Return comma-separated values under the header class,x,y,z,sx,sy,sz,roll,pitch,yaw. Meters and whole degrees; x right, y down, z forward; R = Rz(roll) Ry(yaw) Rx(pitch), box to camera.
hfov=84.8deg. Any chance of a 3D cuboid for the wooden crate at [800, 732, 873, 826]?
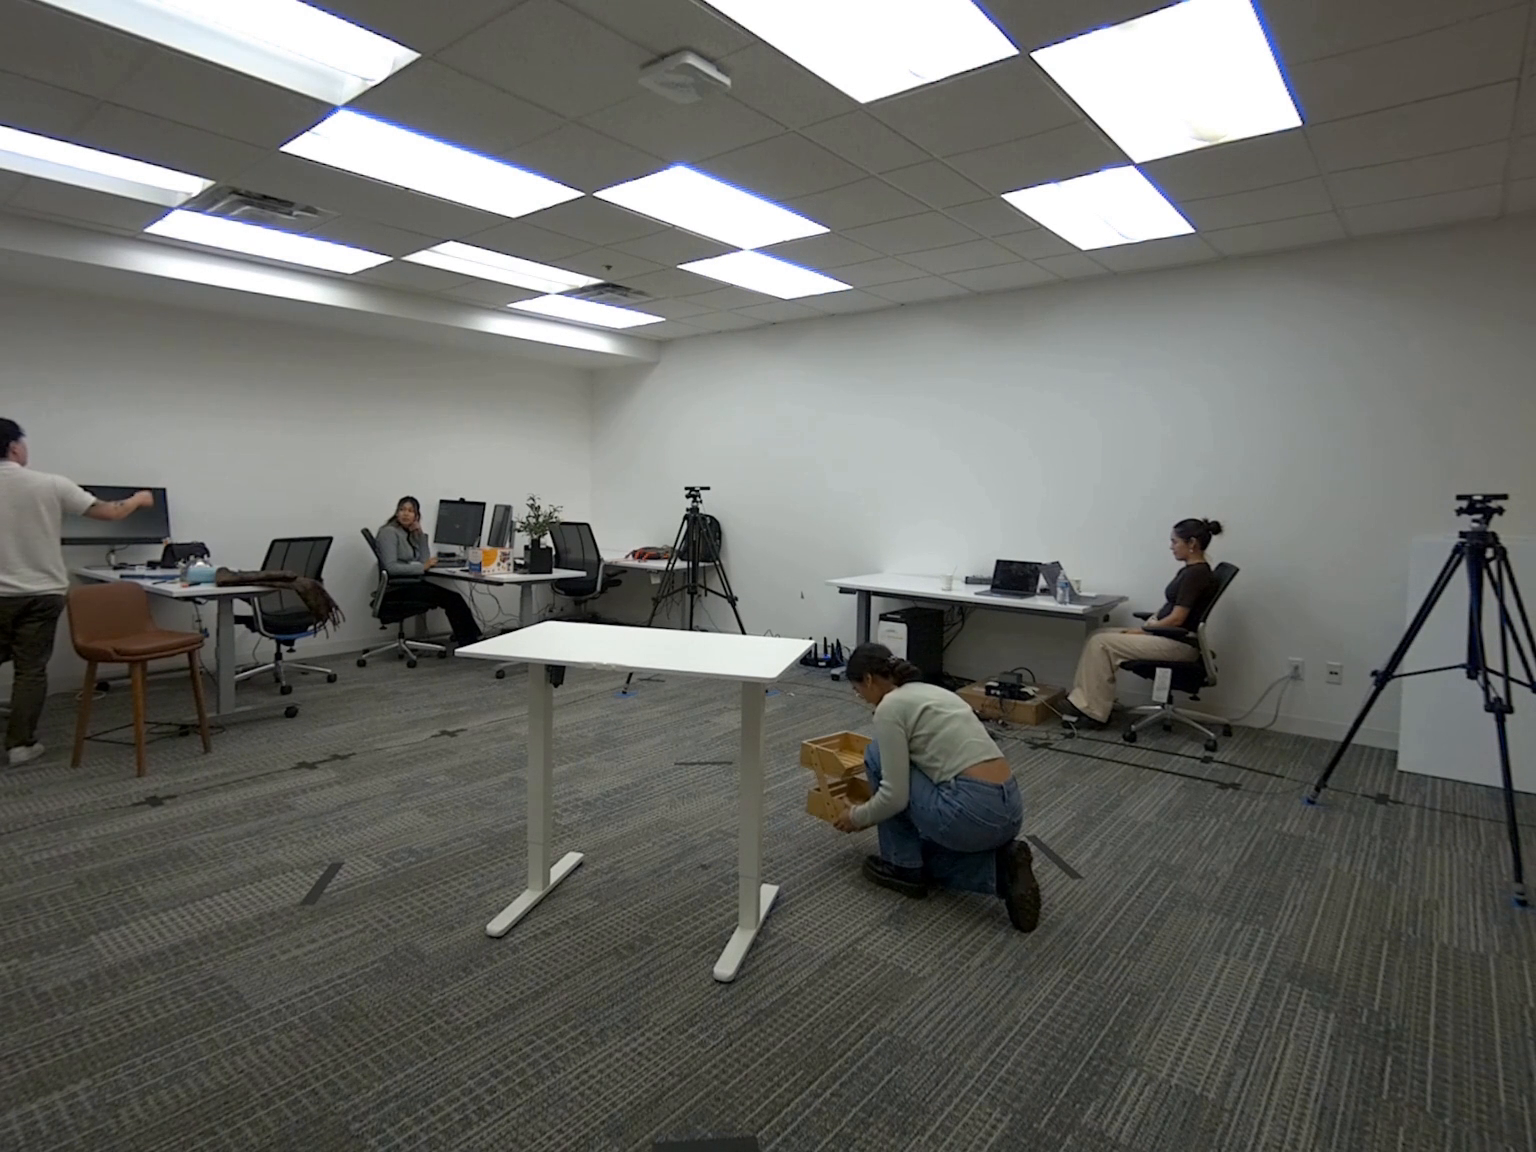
class,x,y,z,sx,sy,sz,roll,pitch,yaw
wooden crate,0.319,0.768,3.252,0.312,0.273,0.314,7,5,41
